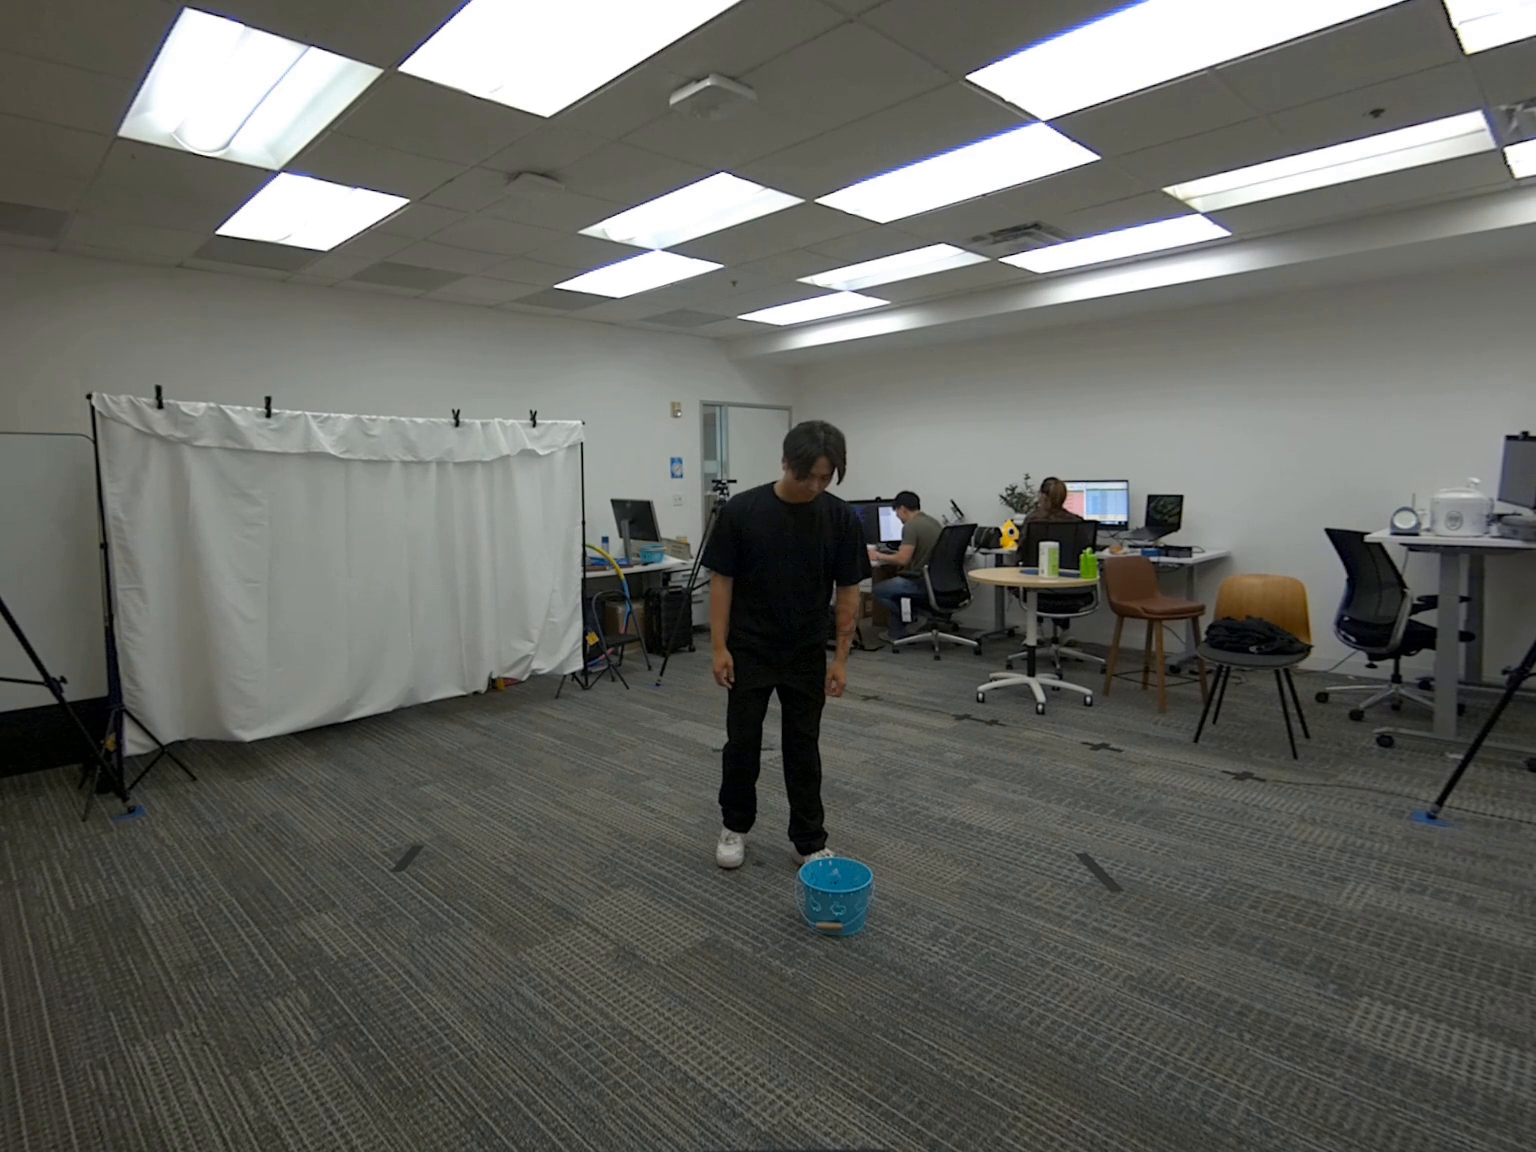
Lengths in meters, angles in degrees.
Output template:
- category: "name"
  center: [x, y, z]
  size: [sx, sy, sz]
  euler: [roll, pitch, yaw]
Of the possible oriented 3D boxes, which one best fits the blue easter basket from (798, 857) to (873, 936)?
- category: "blue easter basket"
  center: [0.211, 1.015, 2.697]
  size: [0.243, 0.155, 0.245]
  euler: [-2, 5, -2]
